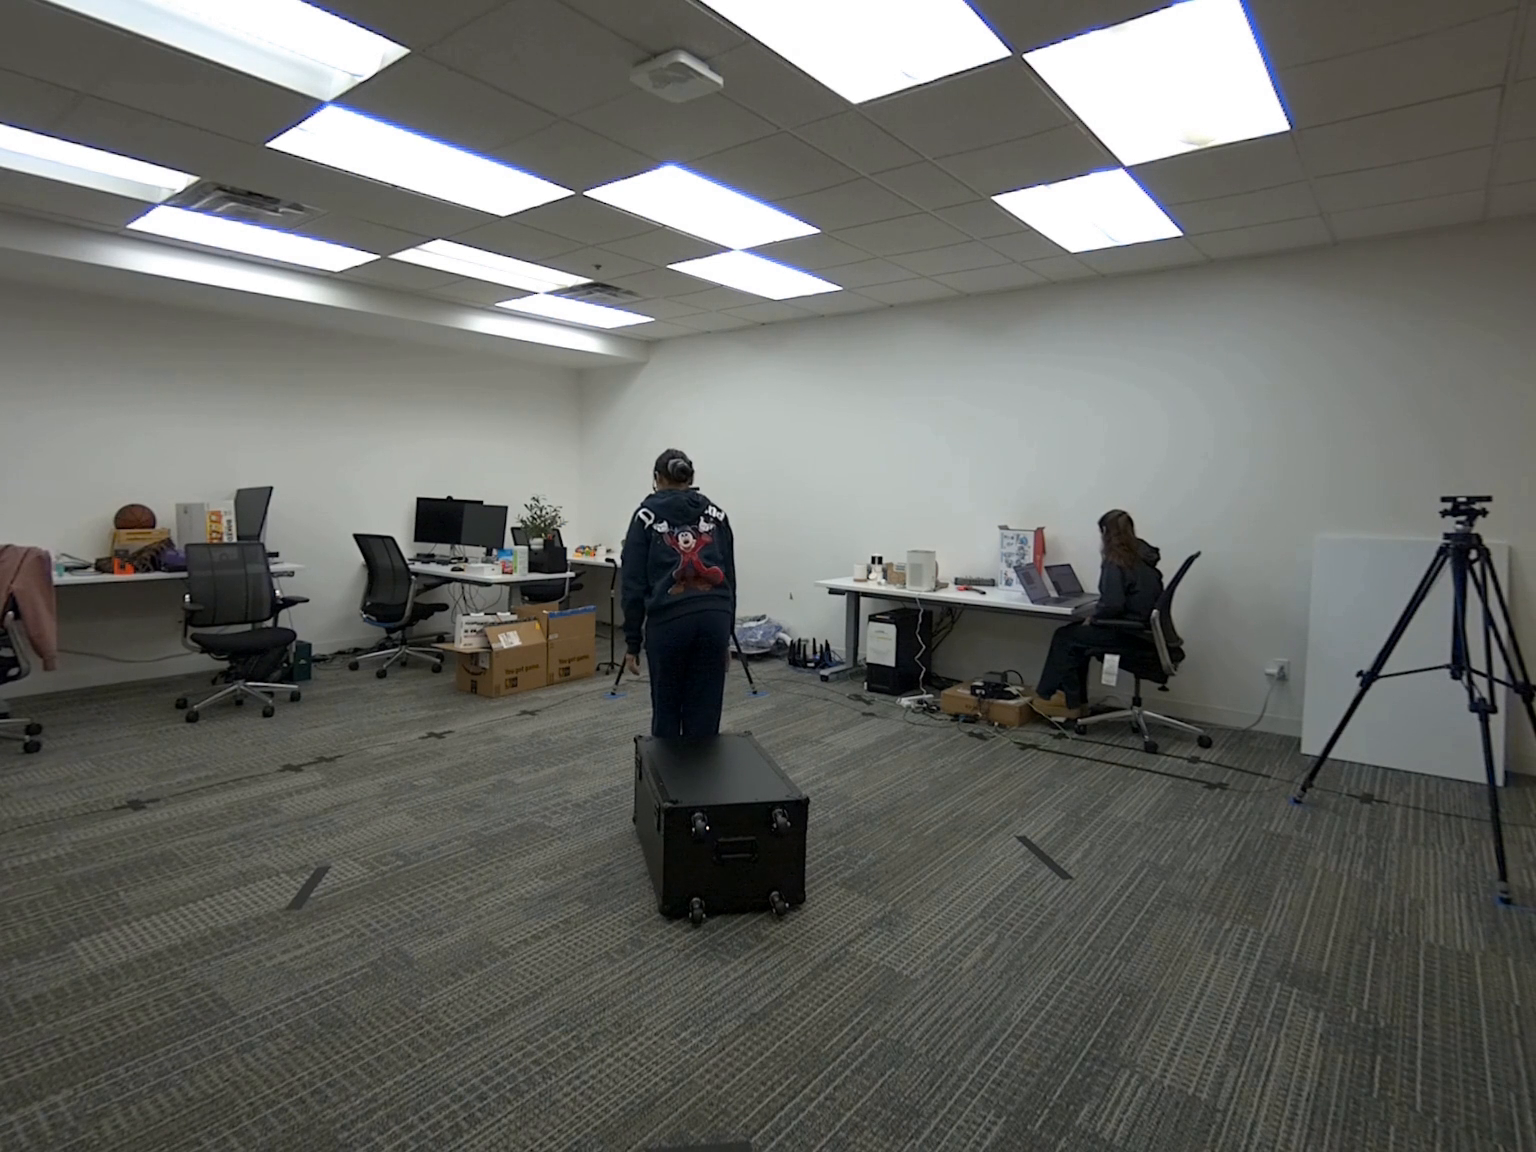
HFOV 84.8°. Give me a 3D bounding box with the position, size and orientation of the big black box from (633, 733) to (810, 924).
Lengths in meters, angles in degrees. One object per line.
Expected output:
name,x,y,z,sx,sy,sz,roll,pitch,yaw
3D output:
big black box,-0.207,0.873,3.094,0.513,0.395,0.877,0,4,-15
